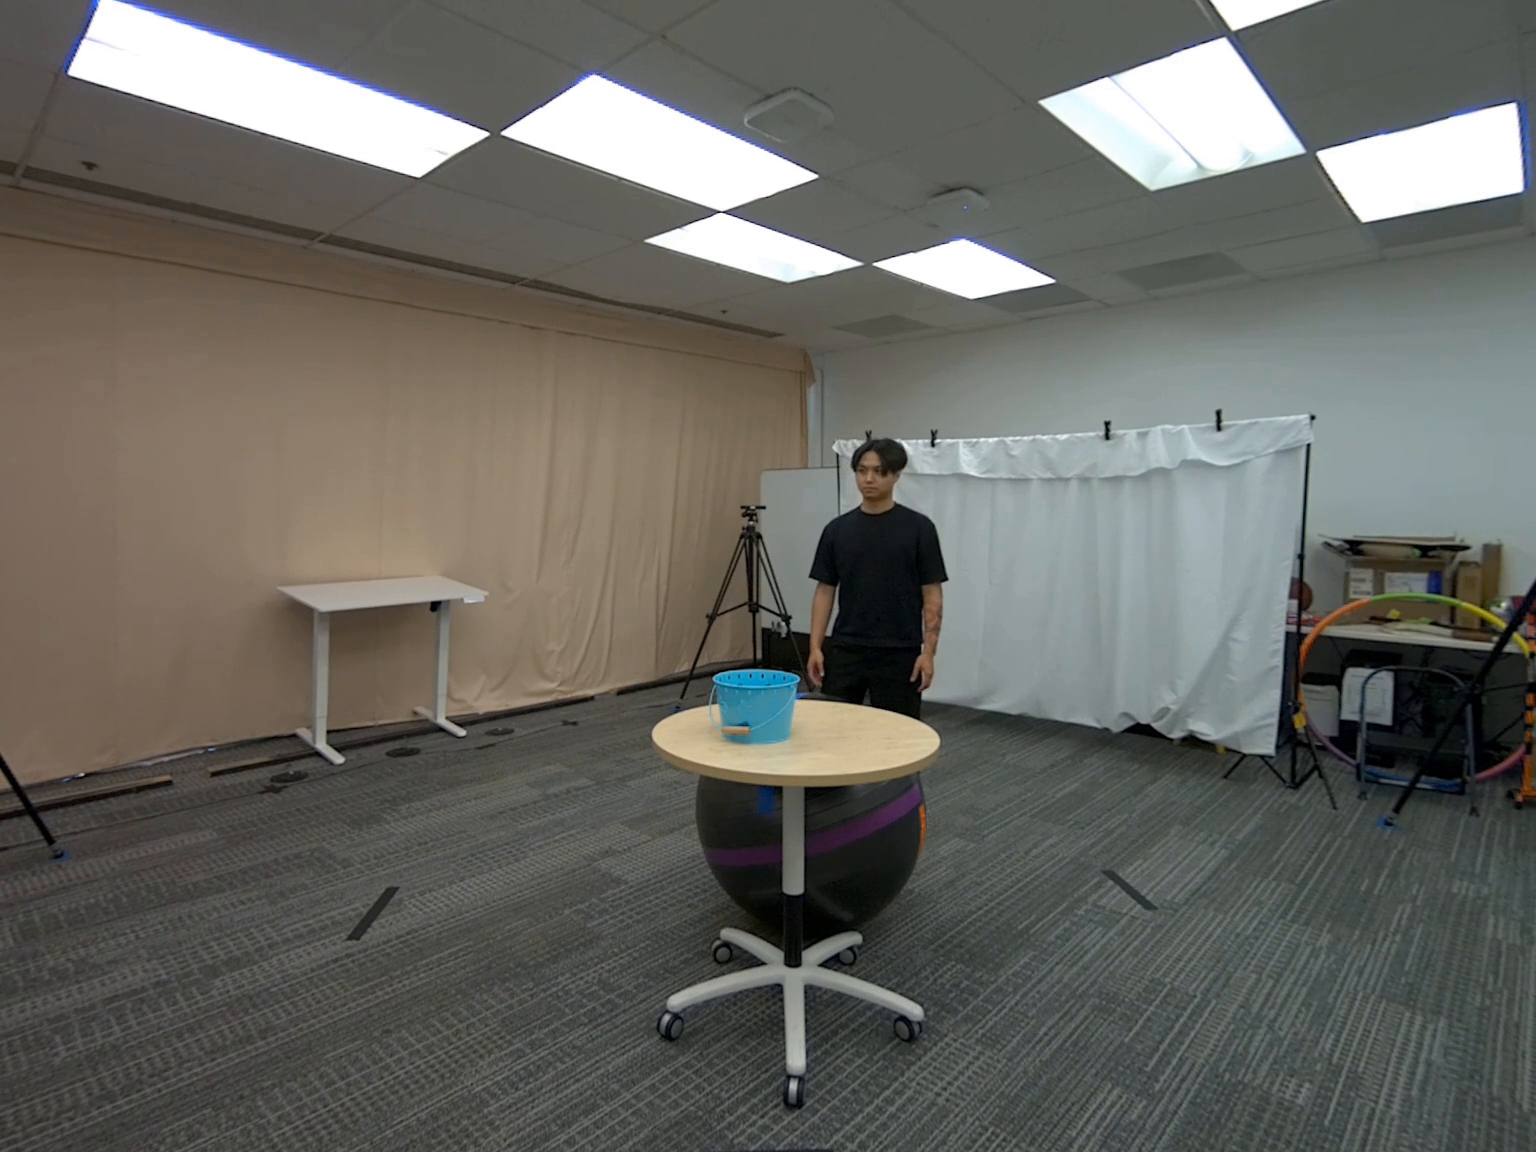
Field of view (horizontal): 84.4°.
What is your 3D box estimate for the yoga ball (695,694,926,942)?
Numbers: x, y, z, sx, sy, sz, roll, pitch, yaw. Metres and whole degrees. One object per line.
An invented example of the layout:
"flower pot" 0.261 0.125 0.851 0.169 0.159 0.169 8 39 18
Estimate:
"yoga ball" 0.137 0.788 2.812 0.757 0.756 0.760 0 4 -2
